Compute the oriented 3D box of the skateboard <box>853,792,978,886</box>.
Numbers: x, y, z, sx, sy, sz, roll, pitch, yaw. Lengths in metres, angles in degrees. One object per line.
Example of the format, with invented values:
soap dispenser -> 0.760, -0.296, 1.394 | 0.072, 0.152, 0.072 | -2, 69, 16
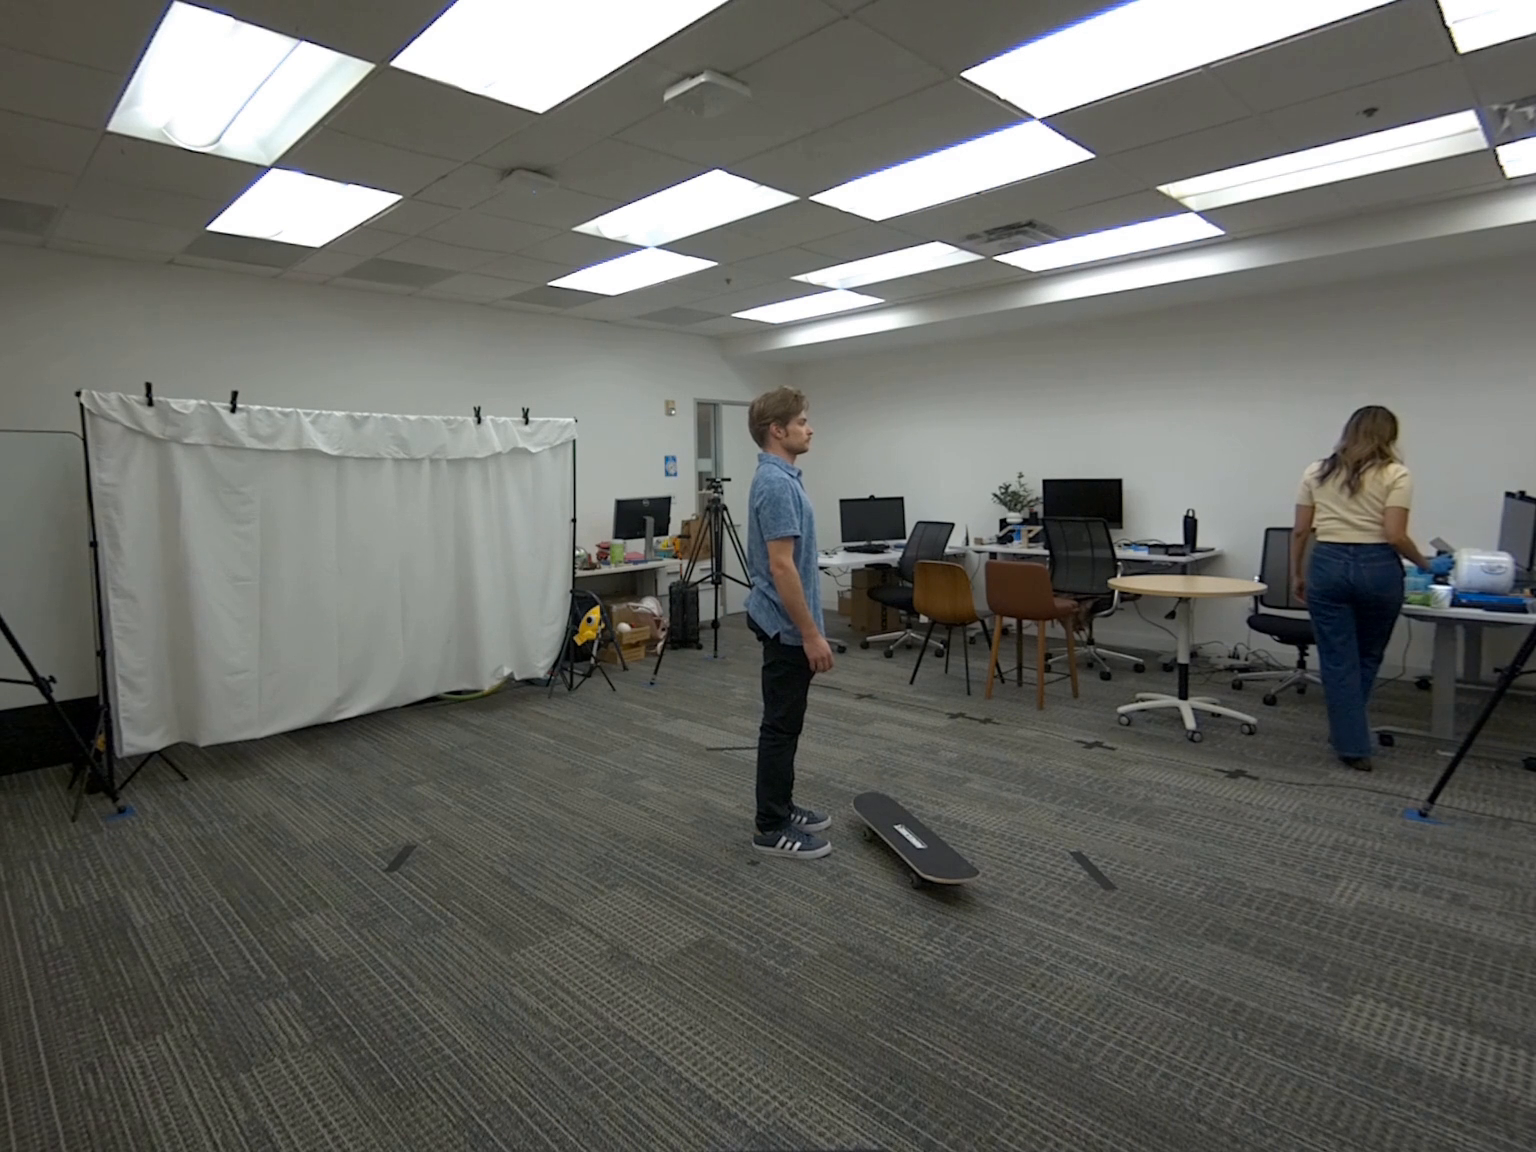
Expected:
skateboard -> 0.527, 0.983, 3.102 | 0.191, 0.110, 0.799 | -3, 6, -15
